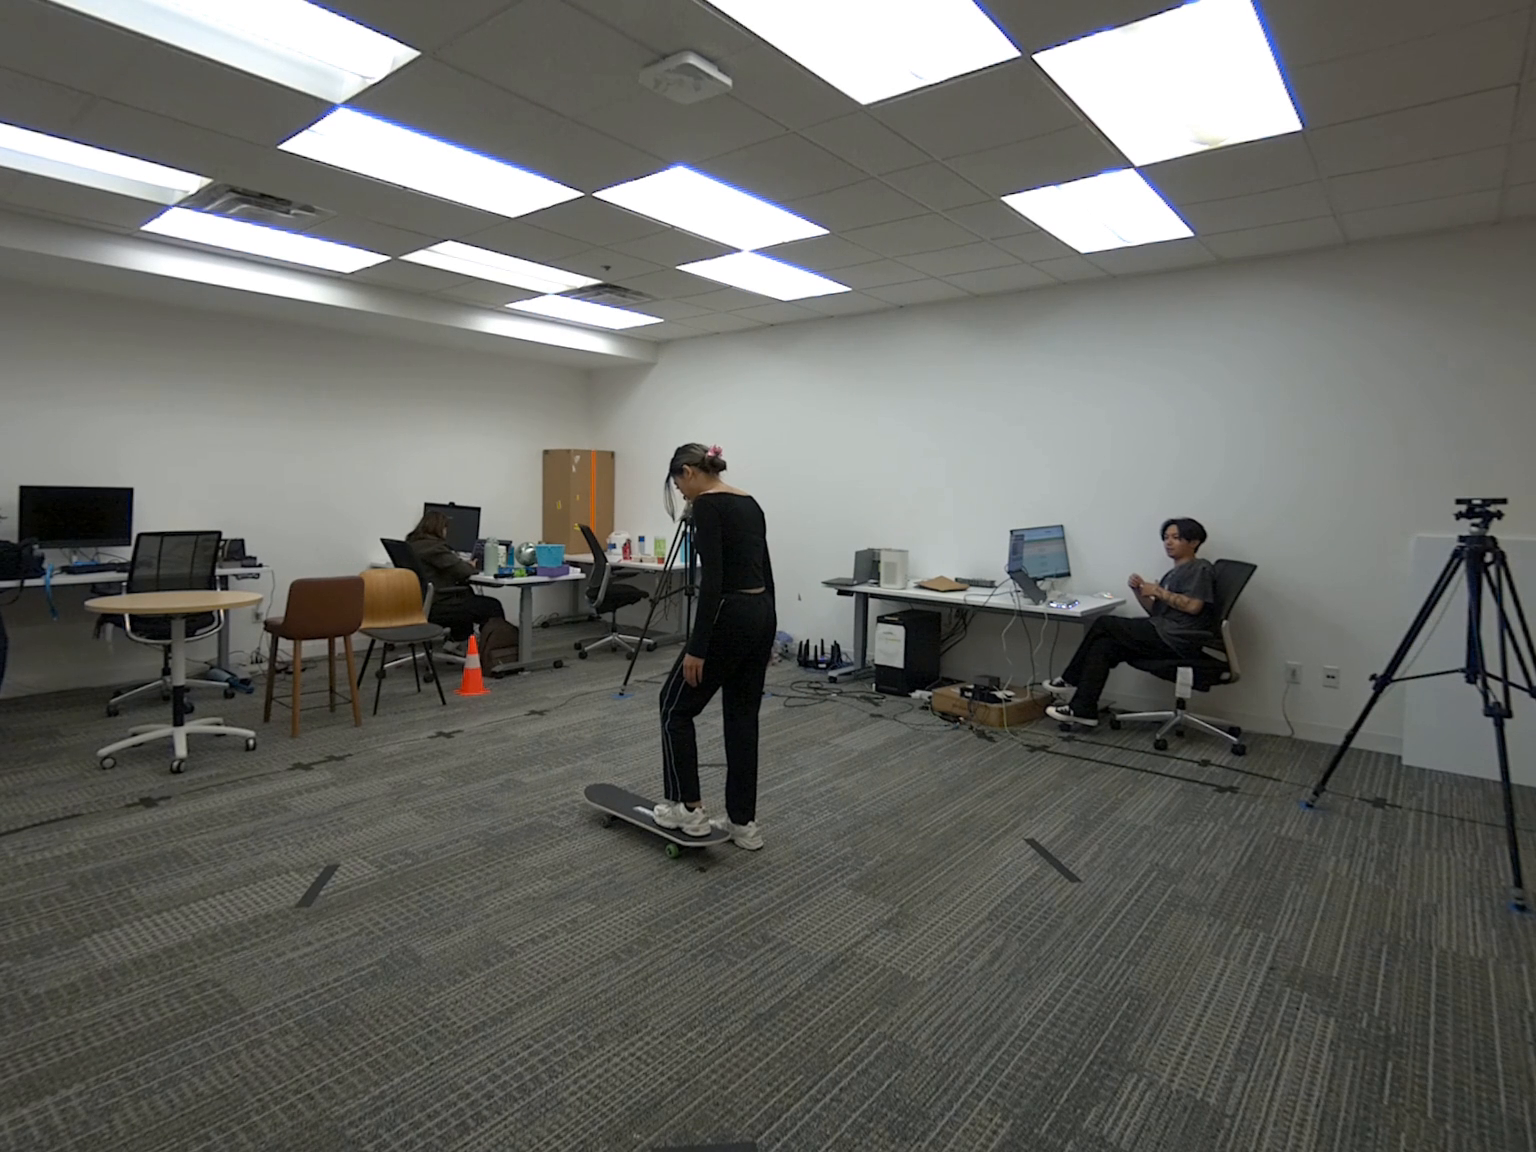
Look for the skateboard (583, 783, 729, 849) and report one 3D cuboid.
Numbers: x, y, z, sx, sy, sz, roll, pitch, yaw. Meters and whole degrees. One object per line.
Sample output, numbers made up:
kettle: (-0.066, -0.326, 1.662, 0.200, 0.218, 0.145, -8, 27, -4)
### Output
skateboard: (-0.482, 0.984, 3.398, 0.813, 0.110, 0.188, 7, 8, 42)
